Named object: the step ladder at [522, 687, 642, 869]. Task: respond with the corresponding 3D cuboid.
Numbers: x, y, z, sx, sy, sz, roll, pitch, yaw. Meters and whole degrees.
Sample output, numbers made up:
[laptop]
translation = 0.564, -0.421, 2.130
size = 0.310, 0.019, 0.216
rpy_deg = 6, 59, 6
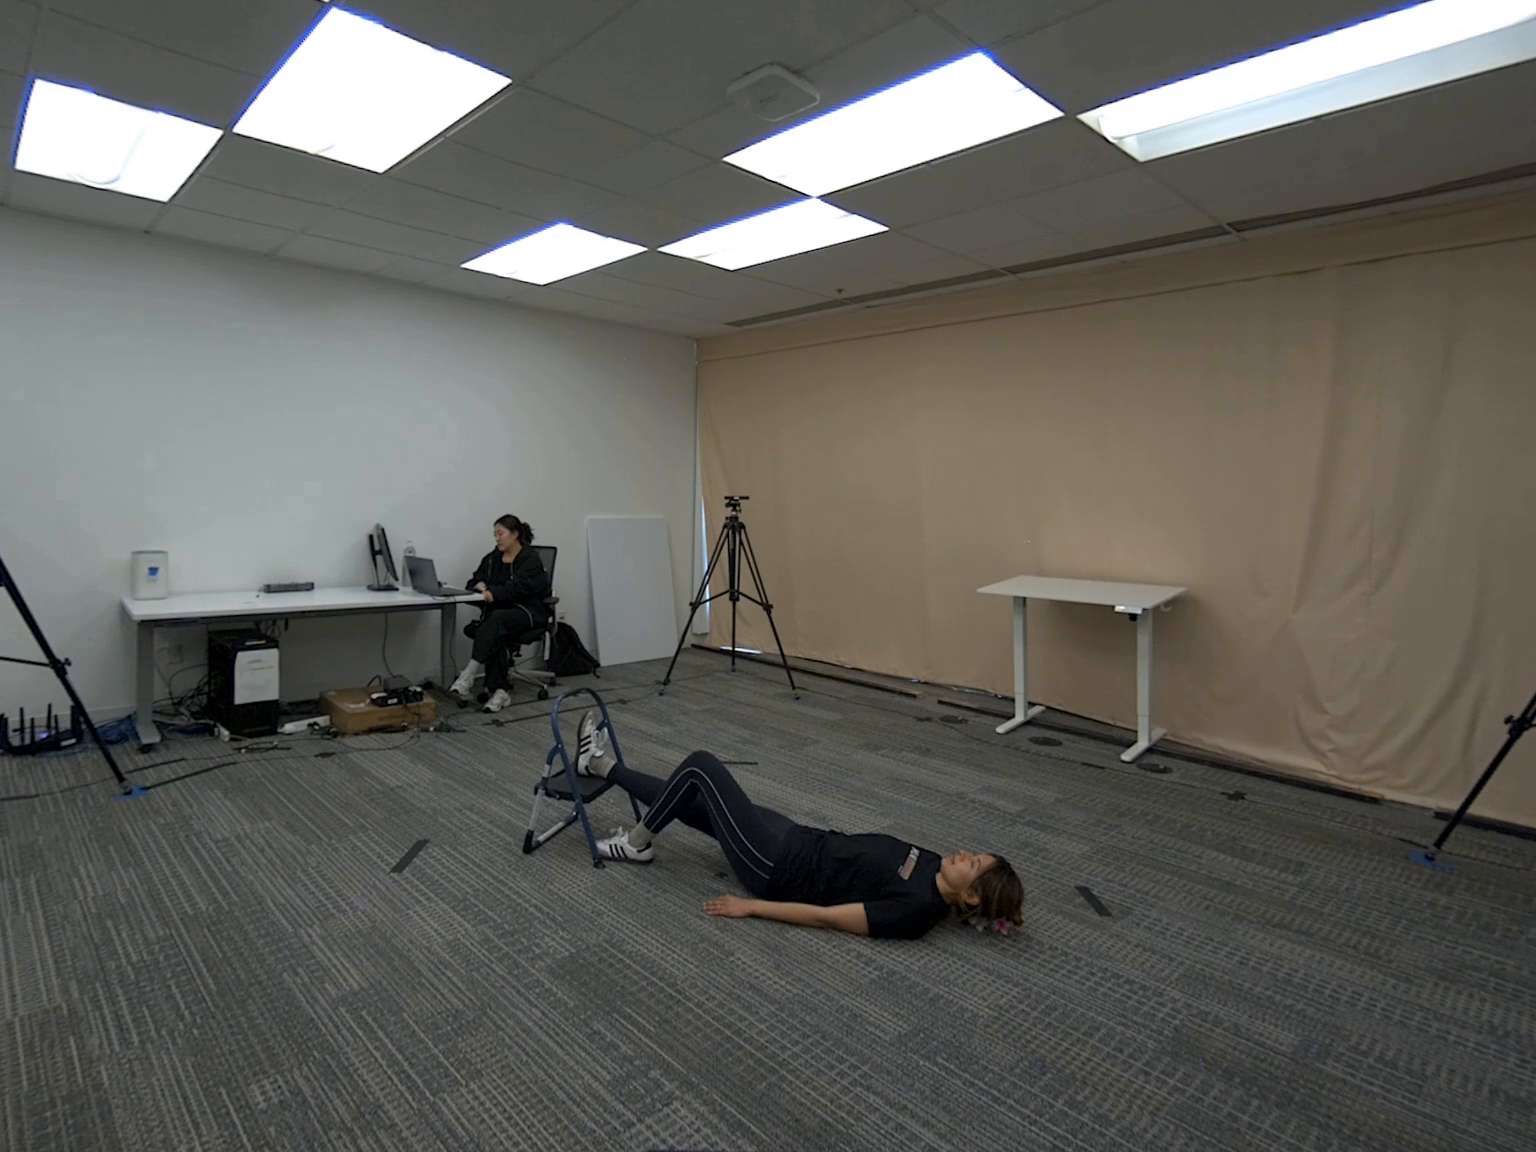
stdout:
[step ladder]
translation = -0.730, 0.764, 3.375
size = 0.354, 0.604, 0.426
rpy_deg = 2, 4, 16
